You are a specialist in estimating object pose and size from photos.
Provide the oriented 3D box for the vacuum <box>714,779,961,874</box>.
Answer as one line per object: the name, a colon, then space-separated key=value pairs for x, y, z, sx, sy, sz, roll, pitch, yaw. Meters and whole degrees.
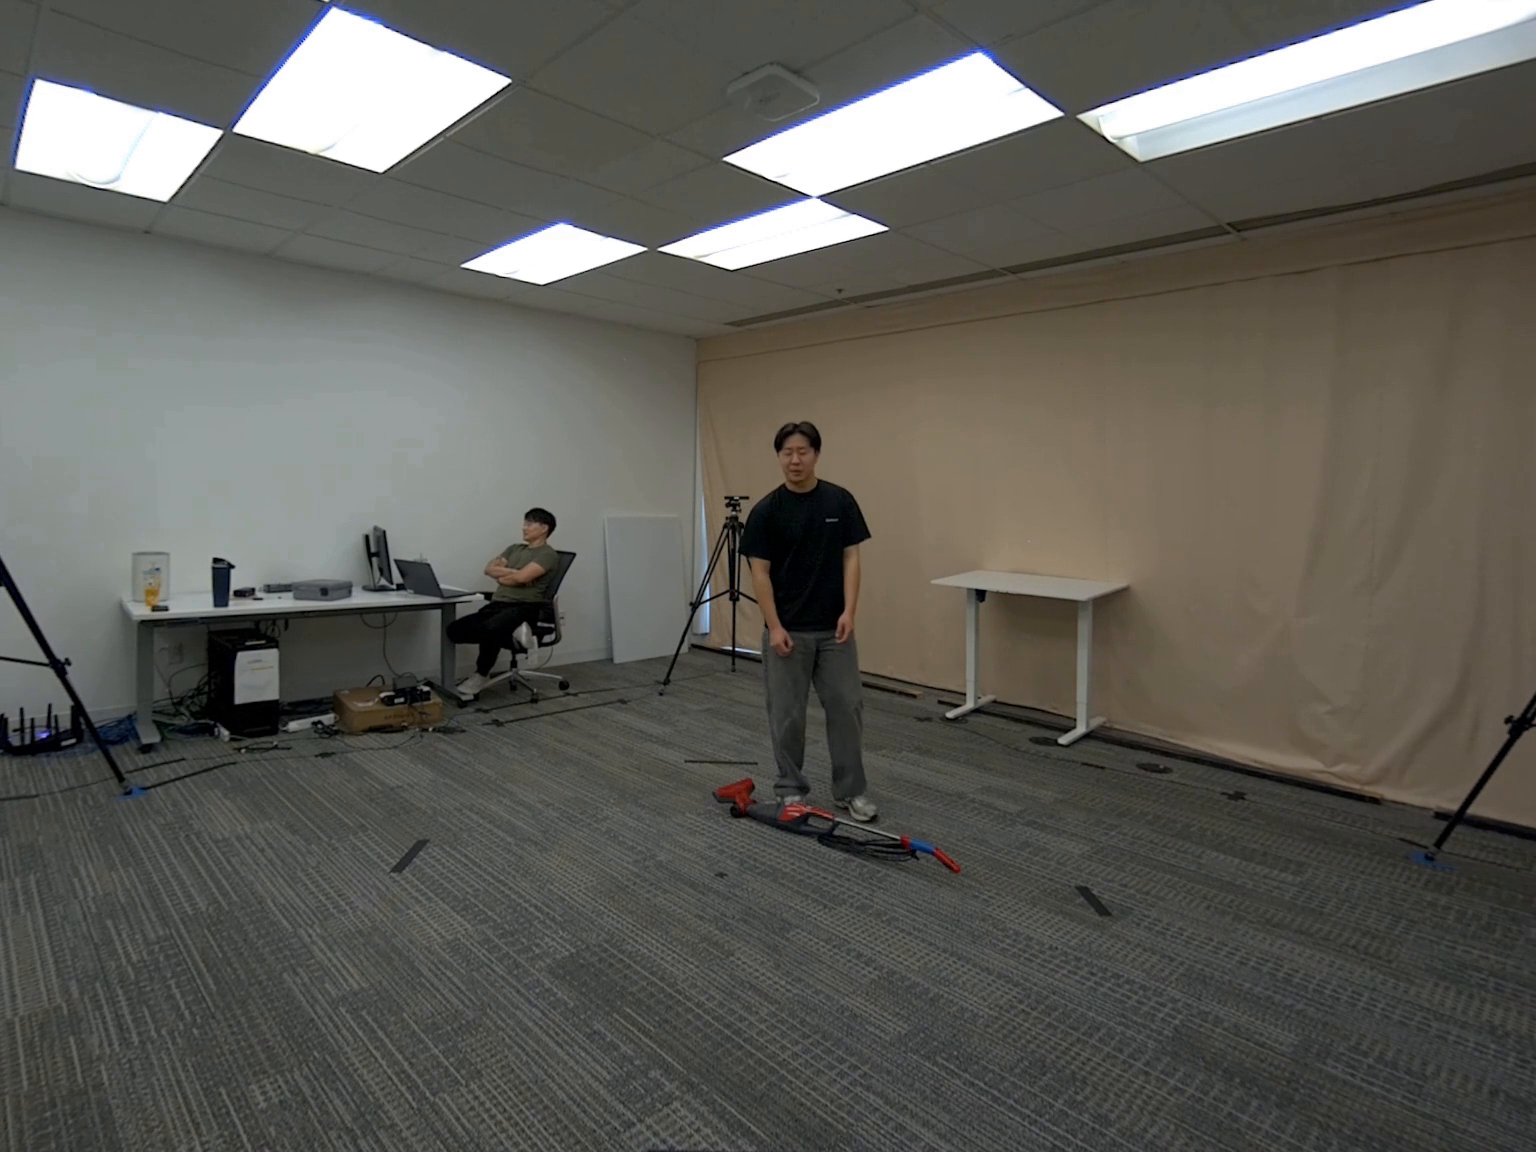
vacuum: x=0.265 y=1.029 z=3.393 sx=1.076 sy=0.144 sz=0.246 roll=6 pitch=3 yaw=39
